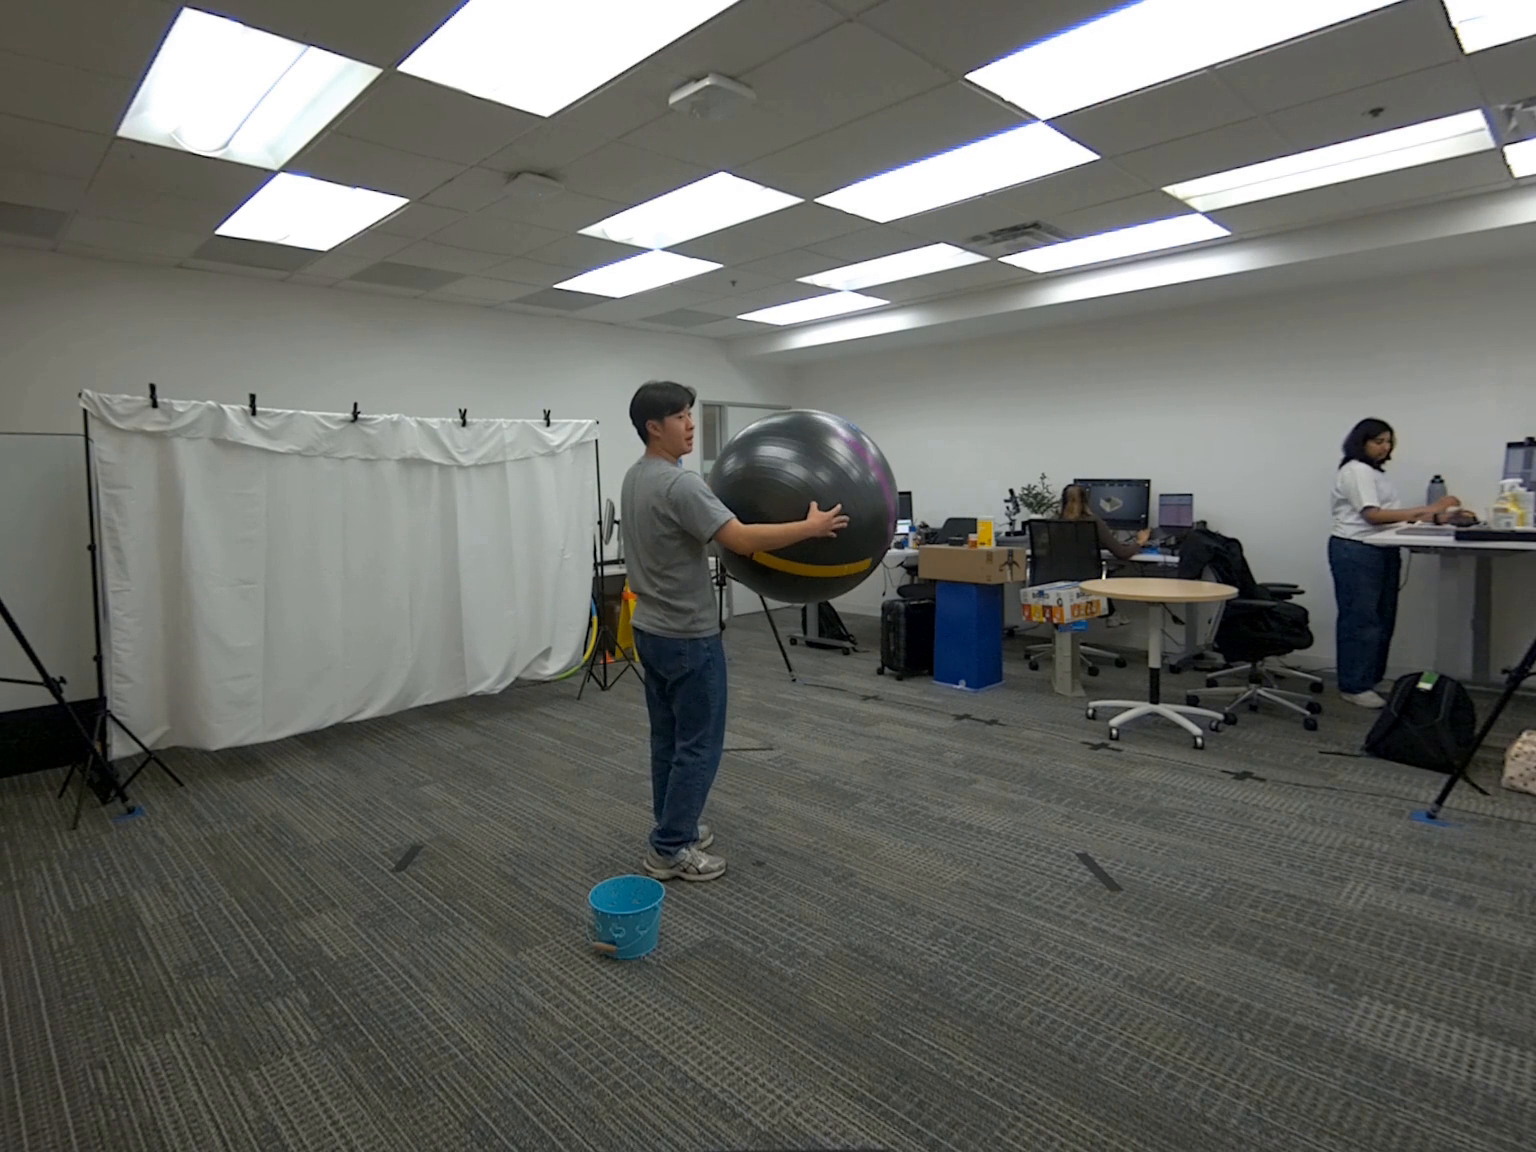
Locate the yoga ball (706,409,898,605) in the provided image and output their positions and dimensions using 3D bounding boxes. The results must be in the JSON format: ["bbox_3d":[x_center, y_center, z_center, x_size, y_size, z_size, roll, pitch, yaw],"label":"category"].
[{"bbox_3d":[0.123,-0.262,3.367,0.757,0.755,0.762,-1,5,-2],"label":"yoga ball"}]
